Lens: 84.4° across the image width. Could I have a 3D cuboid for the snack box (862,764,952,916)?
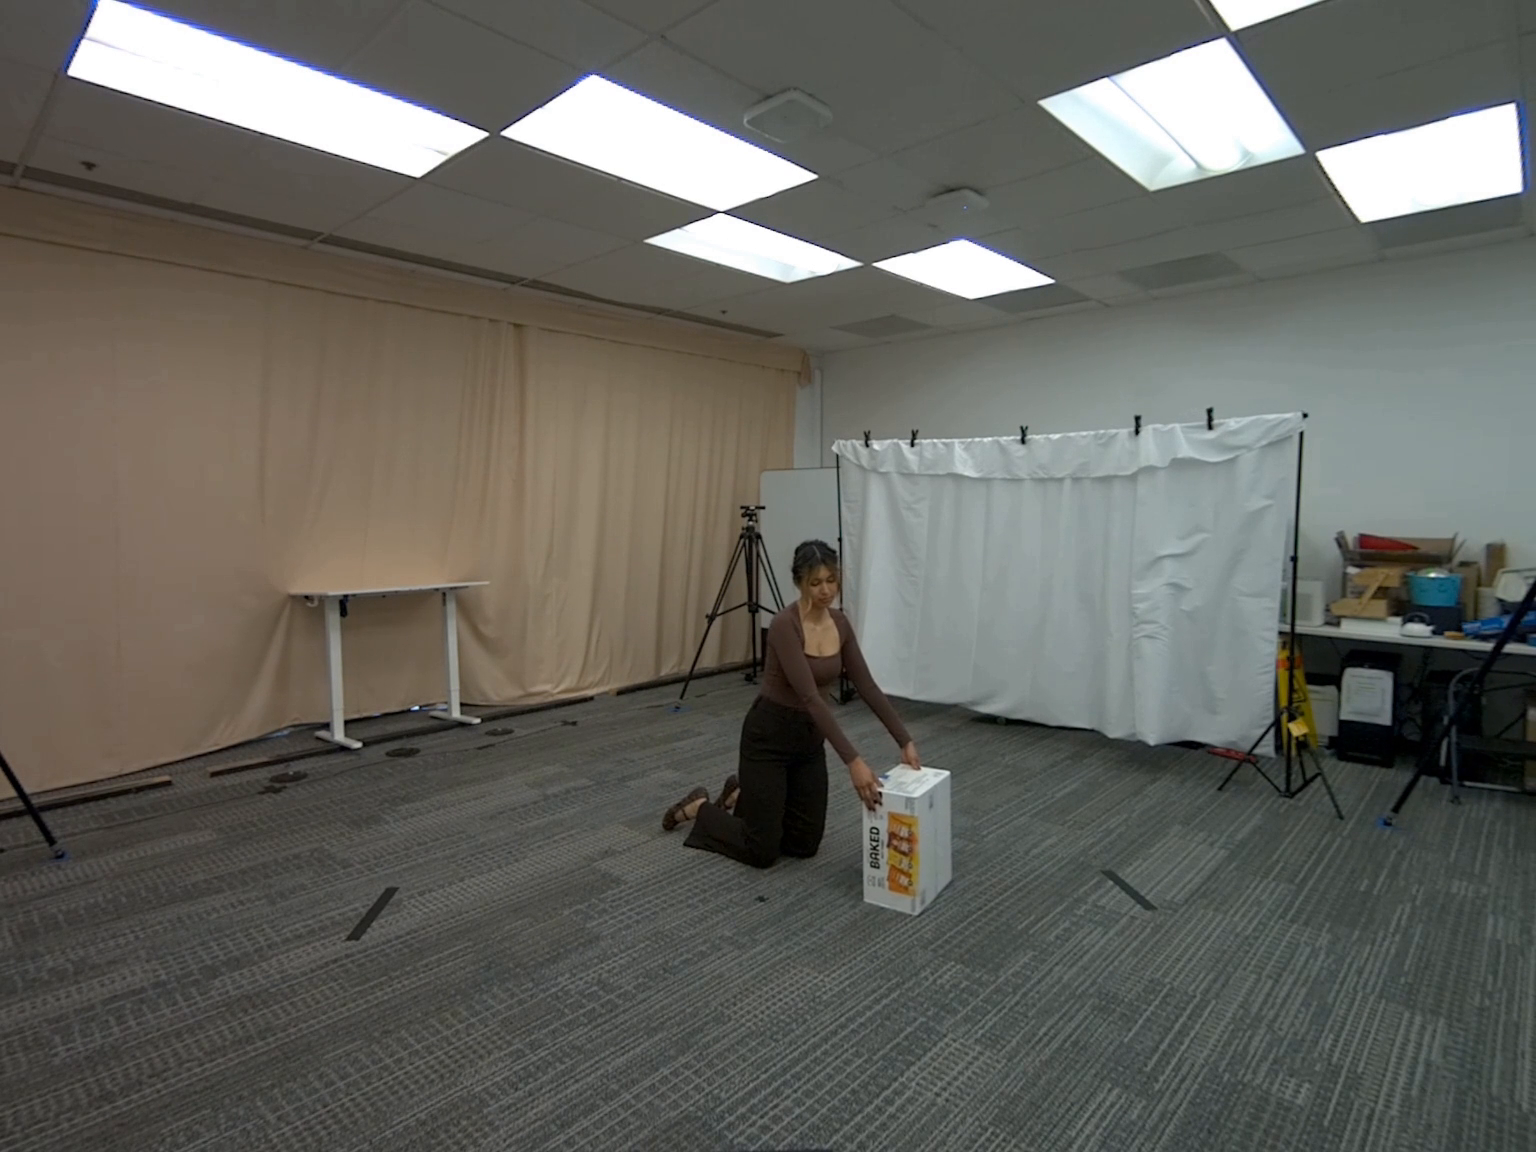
[{"bbox_3d":[0.510,0.933,3.040,0.212,0.404,0.331,1,3,32],"label":"snack box"}]
